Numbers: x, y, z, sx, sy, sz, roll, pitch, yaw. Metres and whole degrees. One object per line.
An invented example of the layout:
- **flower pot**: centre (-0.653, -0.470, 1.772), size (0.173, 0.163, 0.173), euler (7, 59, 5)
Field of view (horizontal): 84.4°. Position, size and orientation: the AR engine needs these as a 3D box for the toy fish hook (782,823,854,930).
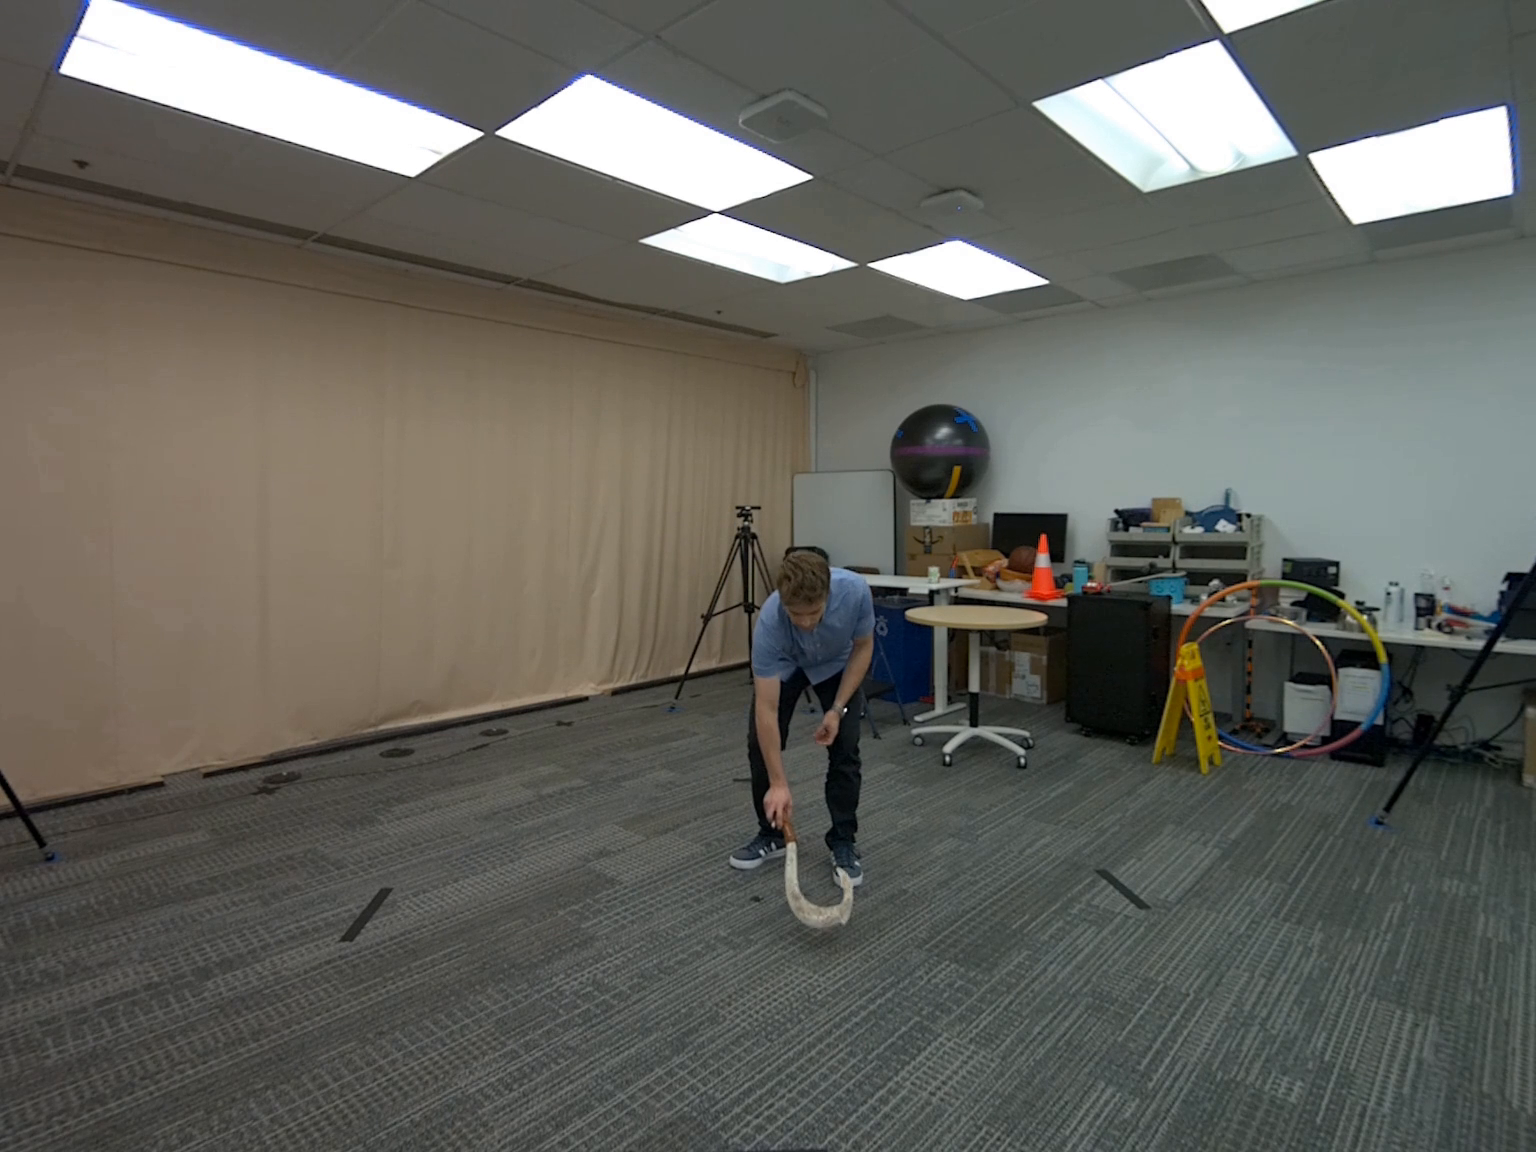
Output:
- **toy fish hook**: centre (0.155, 0.941, 2.820), size (0.221, 0.047, 0.521), euler (-4, 36, -14)
